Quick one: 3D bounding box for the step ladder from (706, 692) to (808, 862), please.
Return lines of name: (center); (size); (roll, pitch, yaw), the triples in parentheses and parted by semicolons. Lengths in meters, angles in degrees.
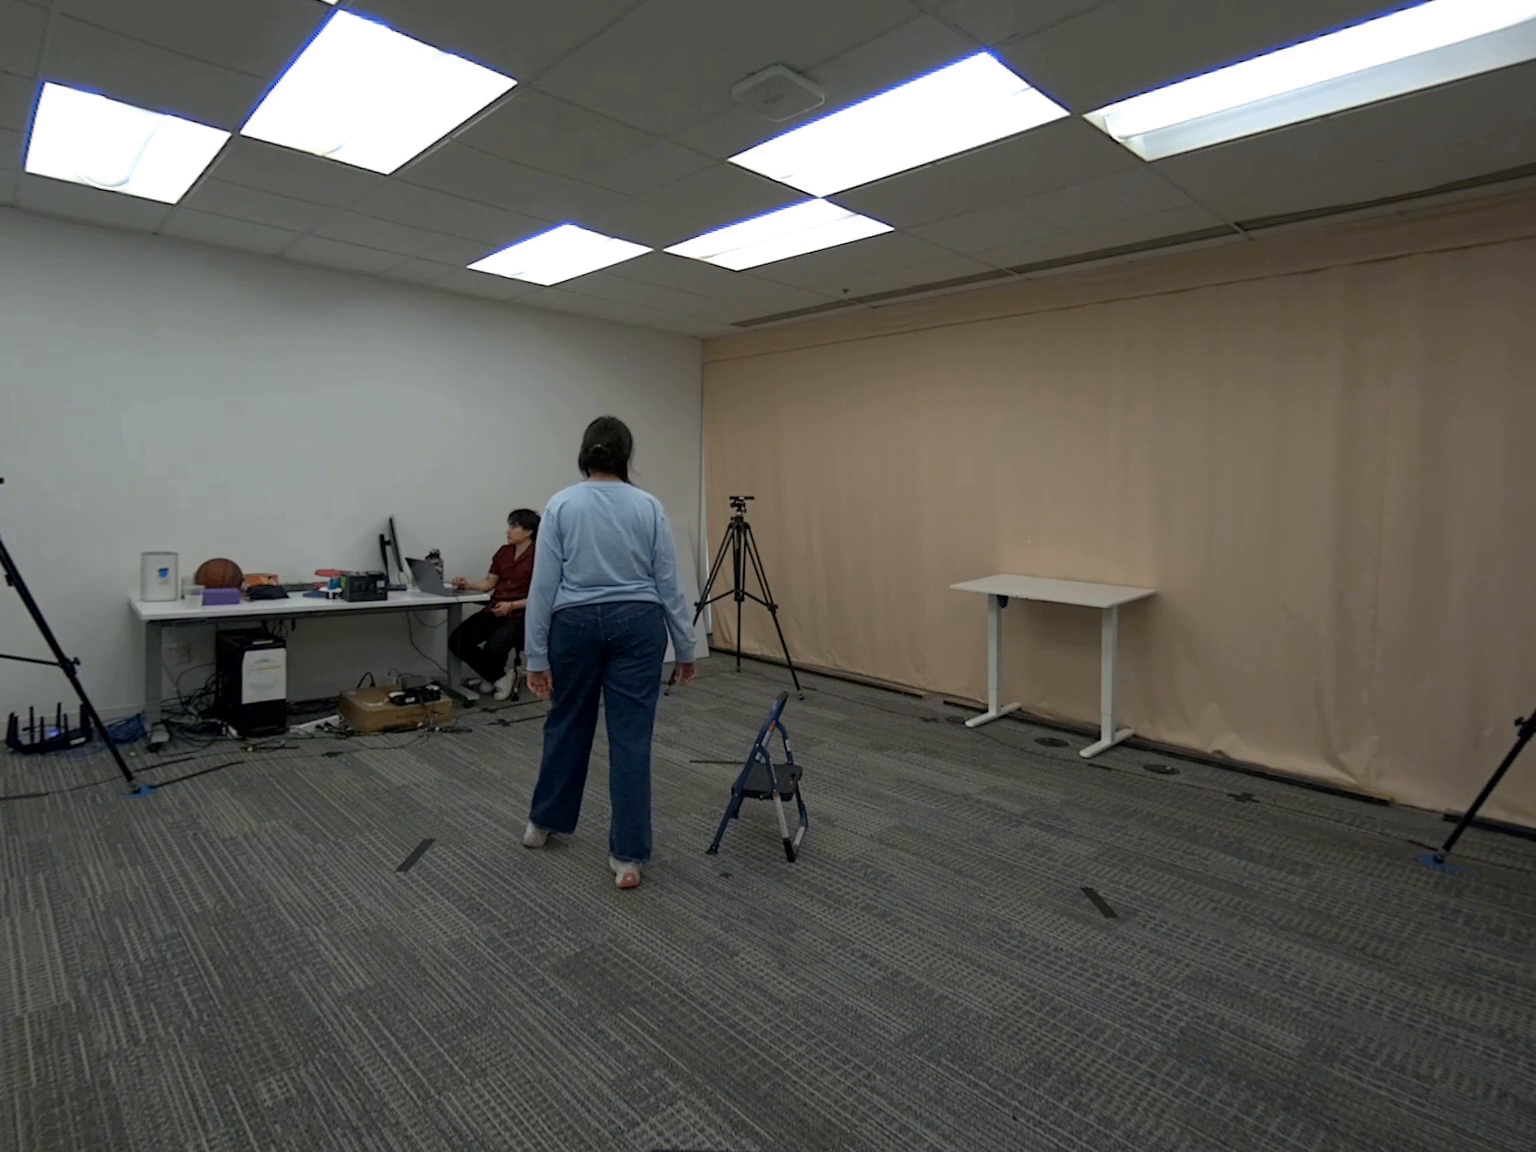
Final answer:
step ladder: (-0.028, 0.774, 3.443); (0.353, 0.605, 0.427); (2, 3, 11)
